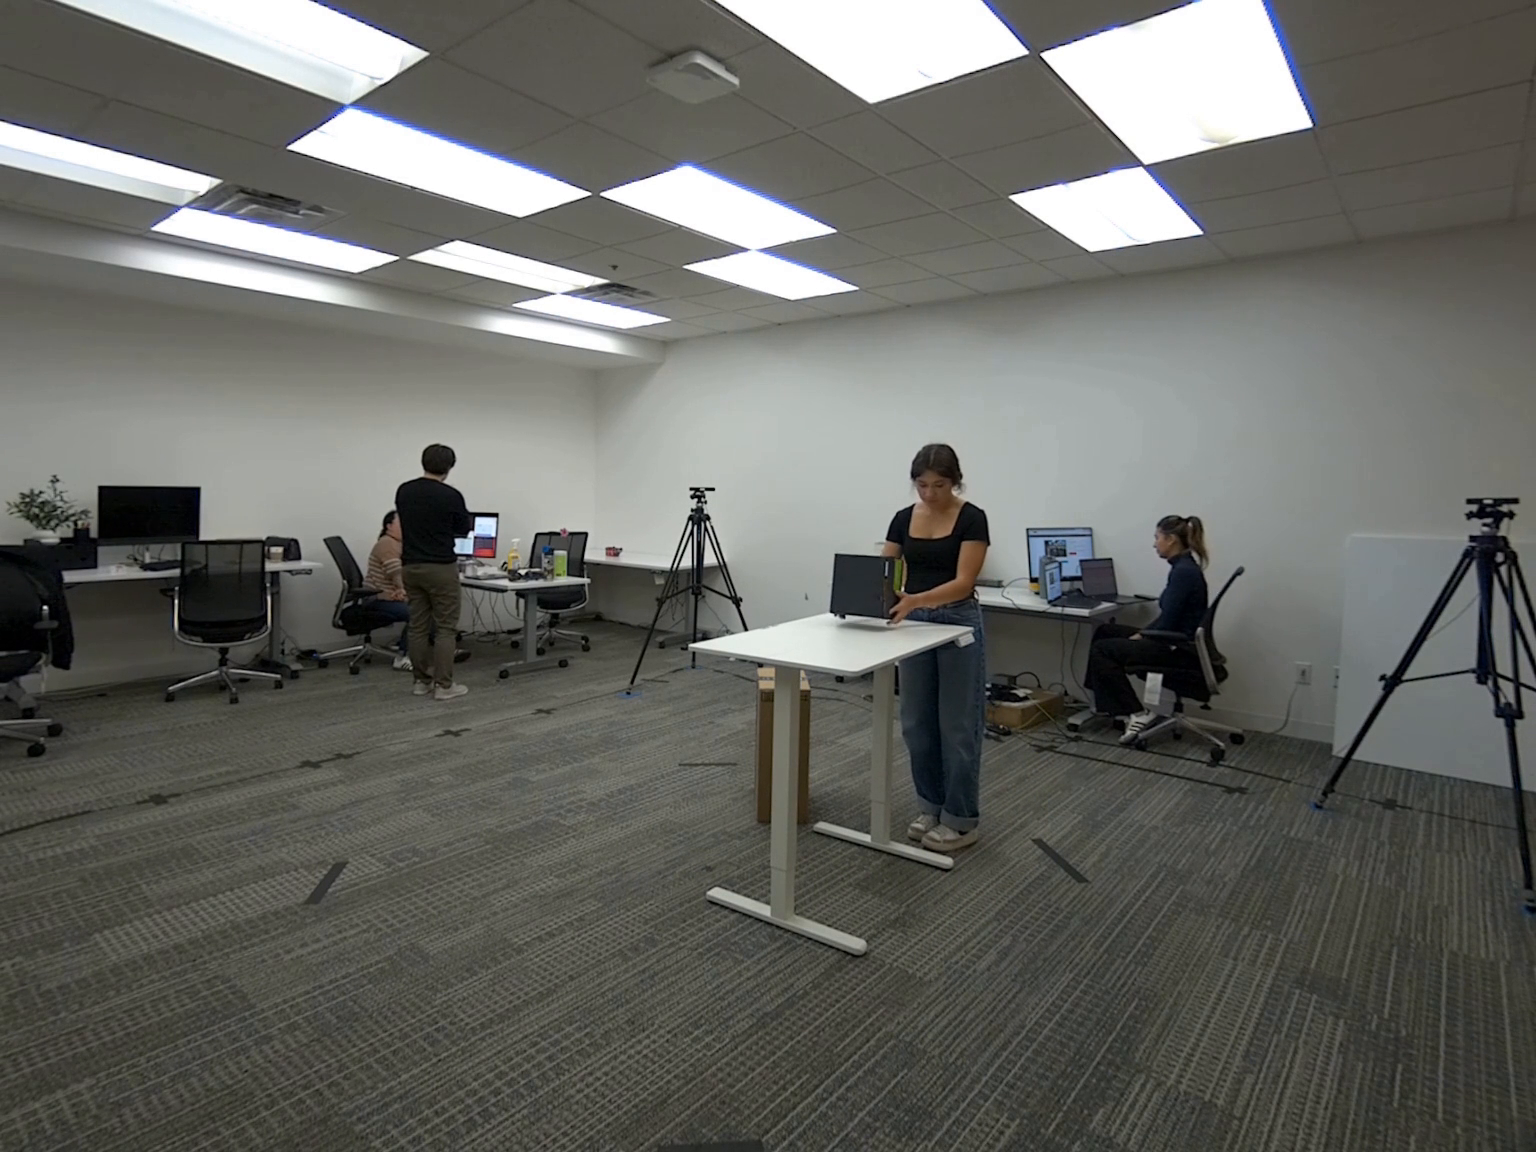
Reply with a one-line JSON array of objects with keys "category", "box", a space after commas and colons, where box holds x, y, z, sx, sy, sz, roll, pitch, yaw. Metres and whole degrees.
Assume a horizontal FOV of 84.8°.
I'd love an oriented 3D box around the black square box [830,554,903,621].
[{"category": "black square box", "box": [0.369, 0.033, 3.181, 0.224, 0.228, 0.151, 4, -2, 34]}]
